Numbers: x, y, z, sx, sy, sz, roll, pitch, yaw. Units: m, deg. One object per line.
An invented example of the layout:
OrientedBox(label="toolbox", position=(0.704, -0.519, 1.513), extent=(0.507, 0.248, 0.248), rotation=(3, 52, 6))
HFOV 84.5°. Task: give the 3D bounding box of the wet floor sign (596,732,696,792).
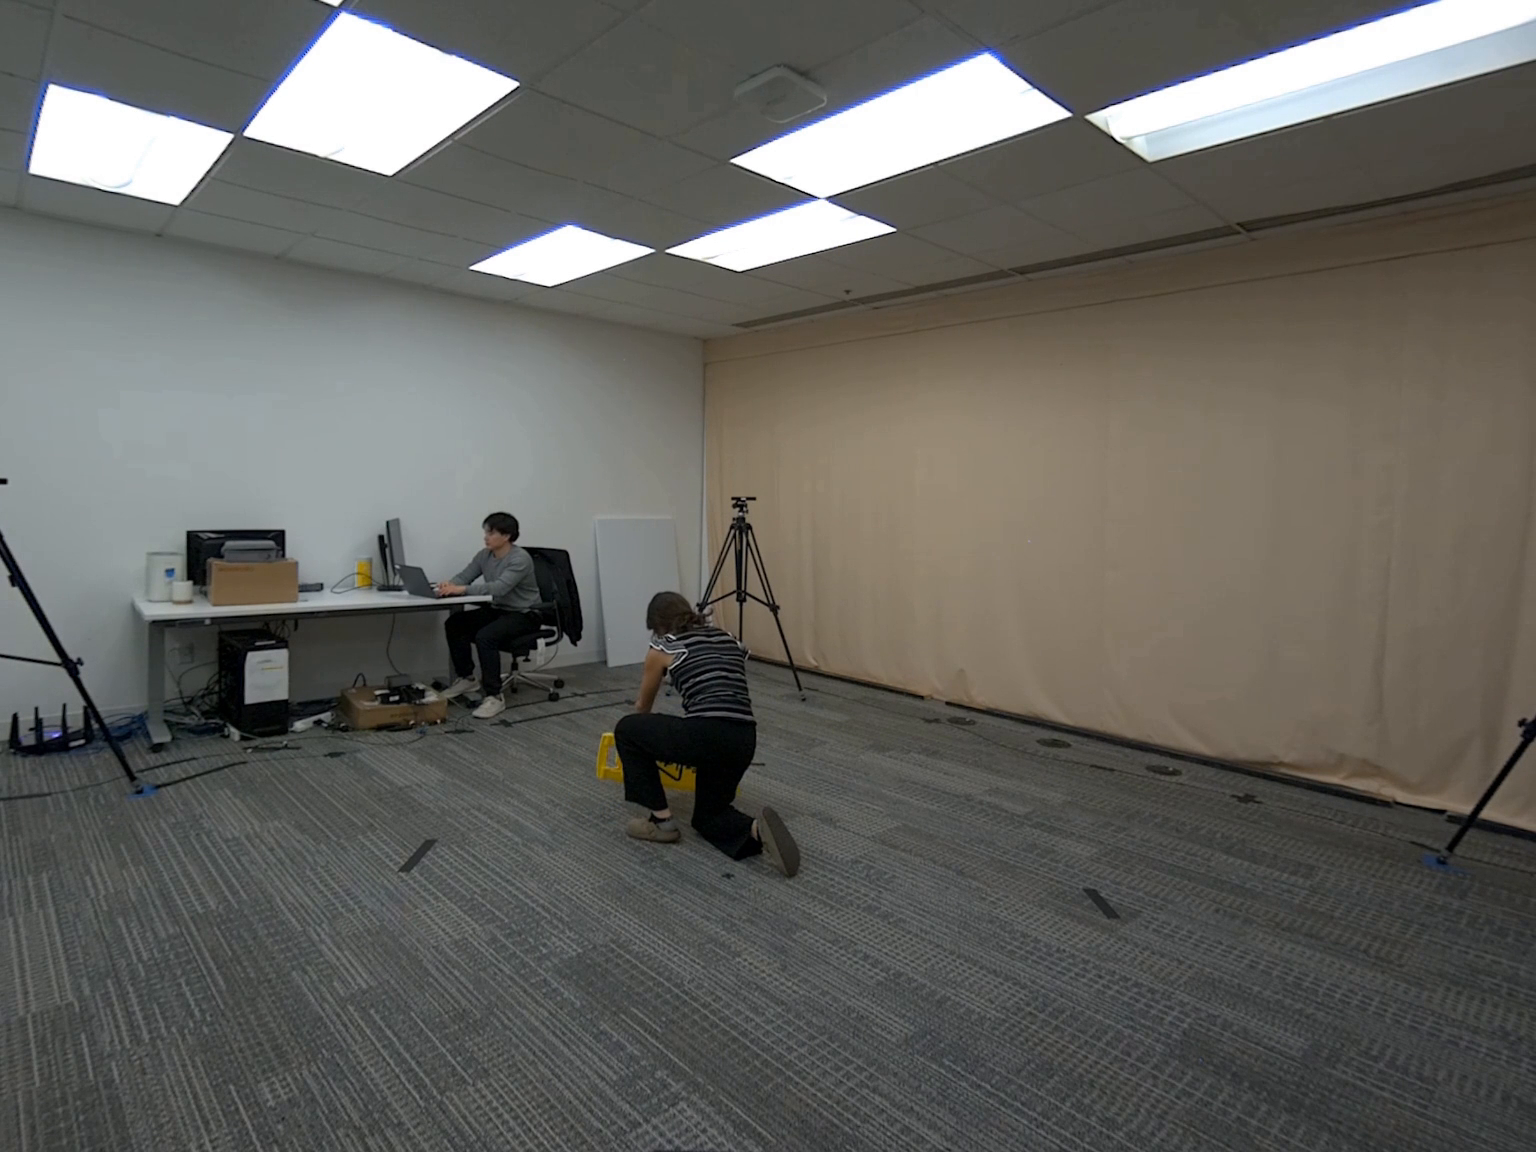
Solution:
OrientedBox(label="wet floor sign", position=(-0.462, 0.829, 3.838), extent=(0.634, 0.281, 0.296), rotation=(7, 4, -23))
